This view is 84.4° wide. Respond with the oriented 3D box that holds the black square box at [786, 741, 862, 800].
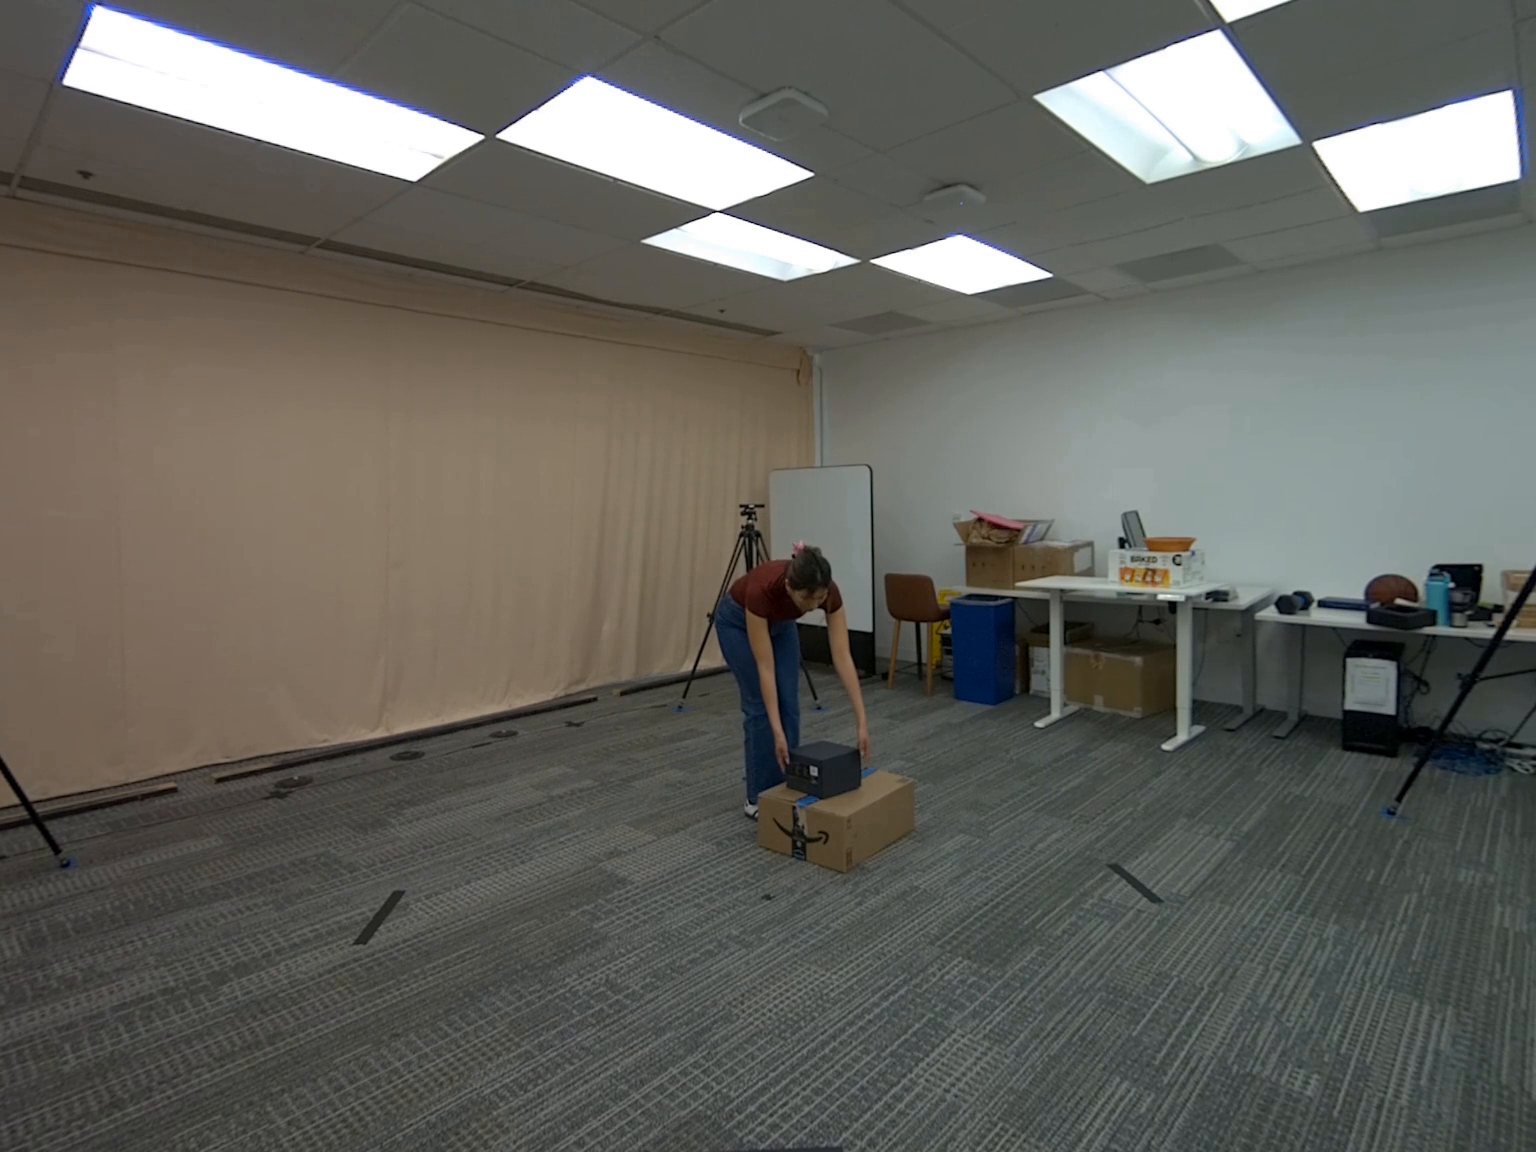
[{"bbox_3d":[0.232,0.792,3.477,0.221,0.156,0.224,-5,3,-40],"label":"black square box"}]
